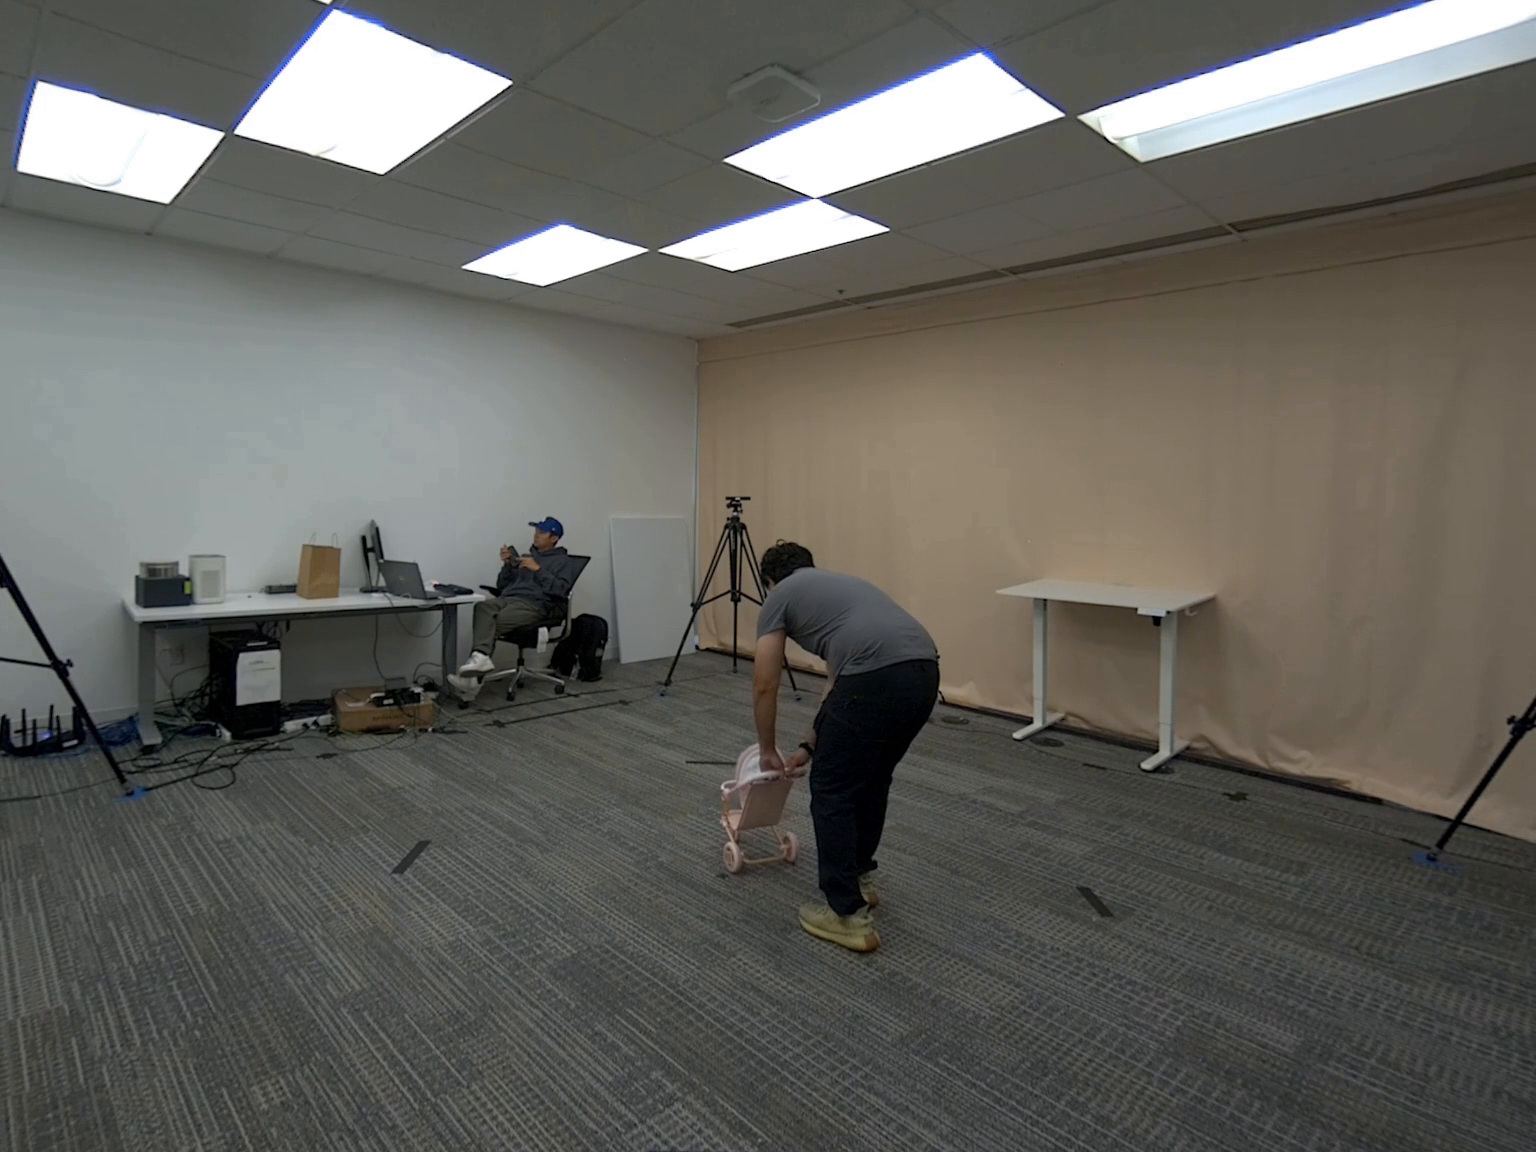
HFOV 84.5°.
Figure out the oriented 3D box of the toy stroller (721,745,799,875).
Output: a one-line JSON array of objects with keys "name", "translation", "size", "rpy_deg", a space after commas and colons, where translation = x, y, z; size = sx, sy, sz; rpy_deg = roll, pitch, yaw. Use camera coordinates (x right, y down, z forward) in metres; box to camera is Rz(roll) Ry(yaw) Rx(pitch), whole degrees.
[{"name": "toy stroller", "translation": [-0.049, 0.871, 3.239], "size": [0.277, 0.529, 0.351], "rpy_deg": [1, 20, -22]}]
